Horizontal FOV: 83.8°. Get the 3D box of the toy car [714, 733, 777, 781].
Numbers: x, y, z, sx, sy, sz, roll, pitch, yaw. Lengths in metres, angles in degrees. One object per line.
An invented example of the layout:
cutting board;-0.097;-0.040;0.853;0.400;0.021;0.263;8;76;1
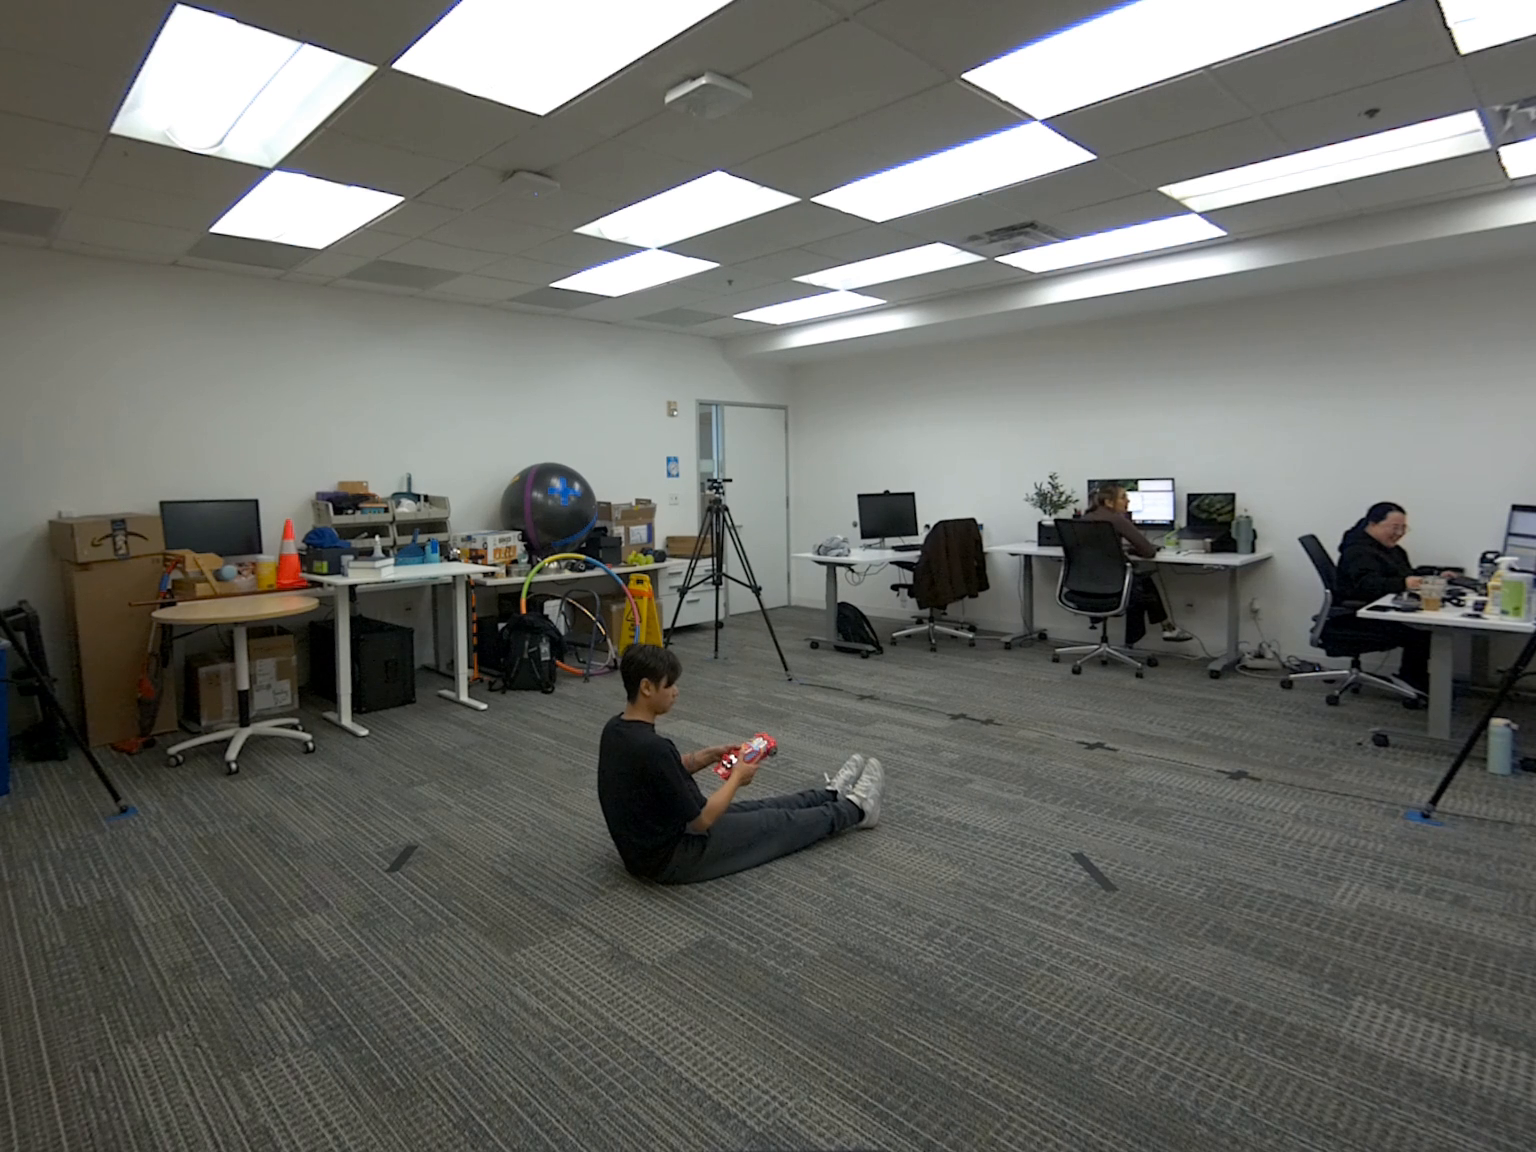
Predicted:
toy car;-0.096;0.688;3.191;0.252;0.081;0.135;-24;25;-22
